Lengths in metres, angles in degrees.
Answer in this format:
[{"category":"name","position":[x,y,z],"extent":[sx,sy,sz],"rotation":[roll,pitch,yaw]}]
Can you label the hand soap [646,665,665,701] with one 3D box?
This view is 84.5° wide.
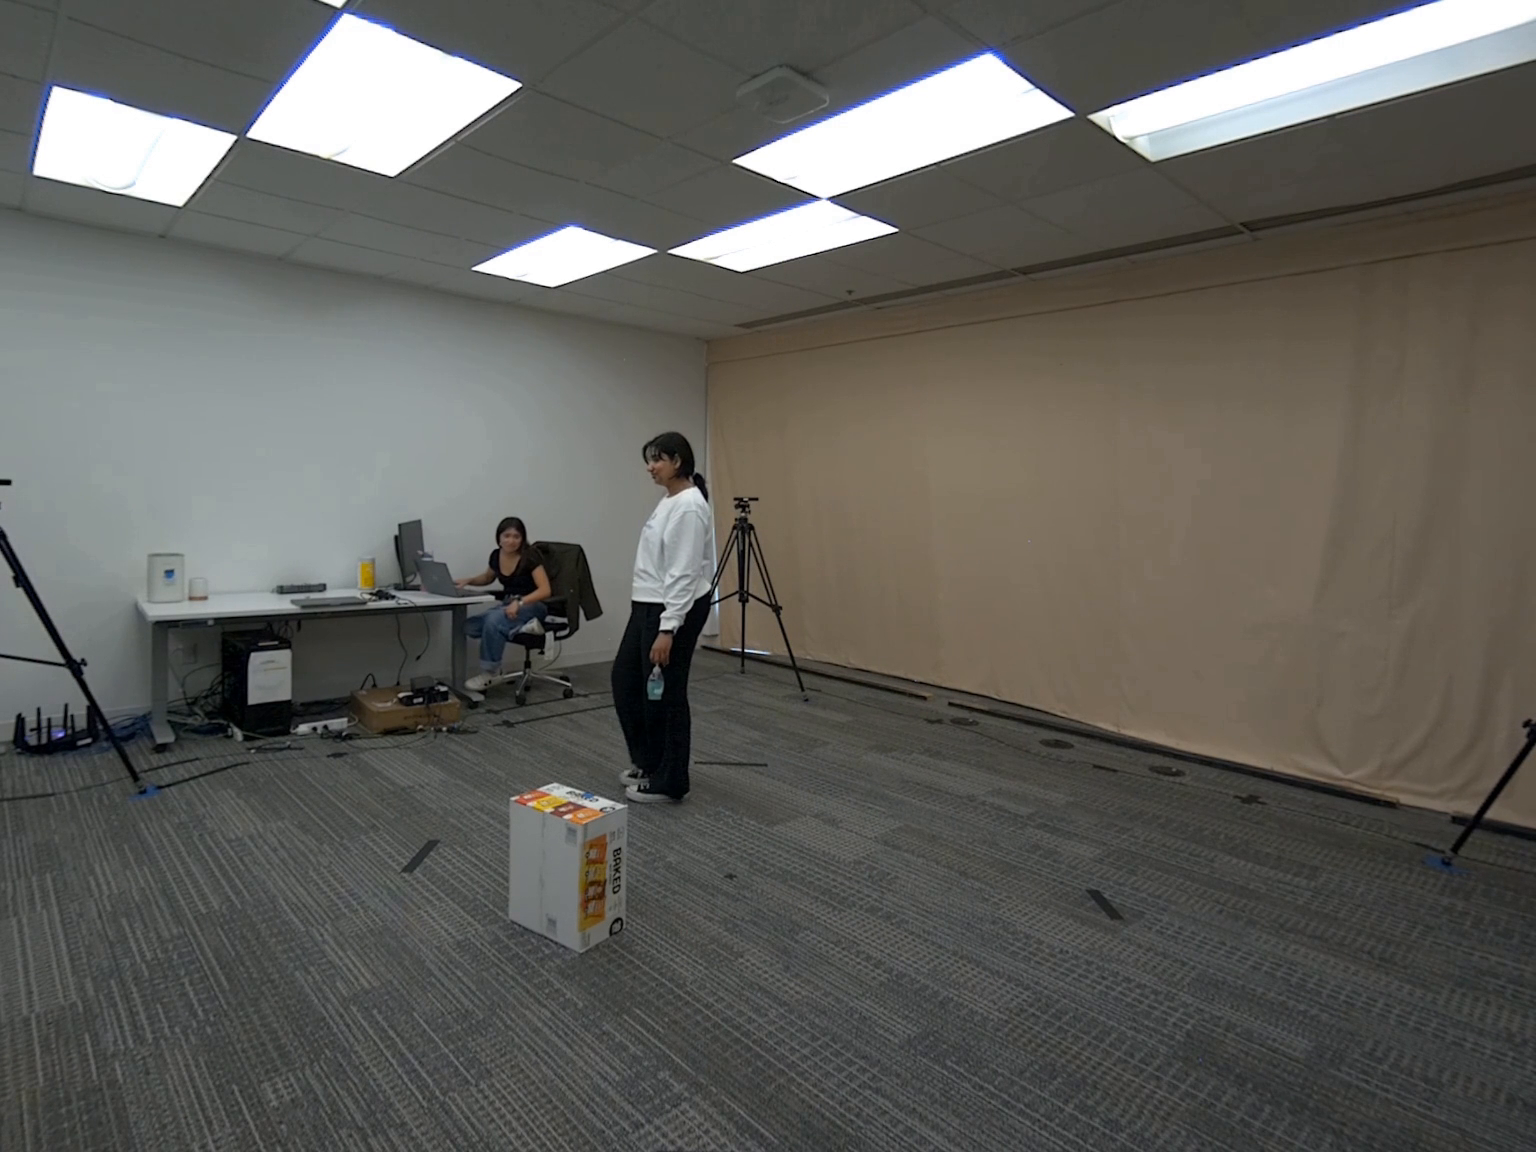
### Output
[{"category":"hand soap","position":[-0.480,0.440,3.598],"extent":[0.044,0.168,0.082],"rotation":[1,-5,40]}]
